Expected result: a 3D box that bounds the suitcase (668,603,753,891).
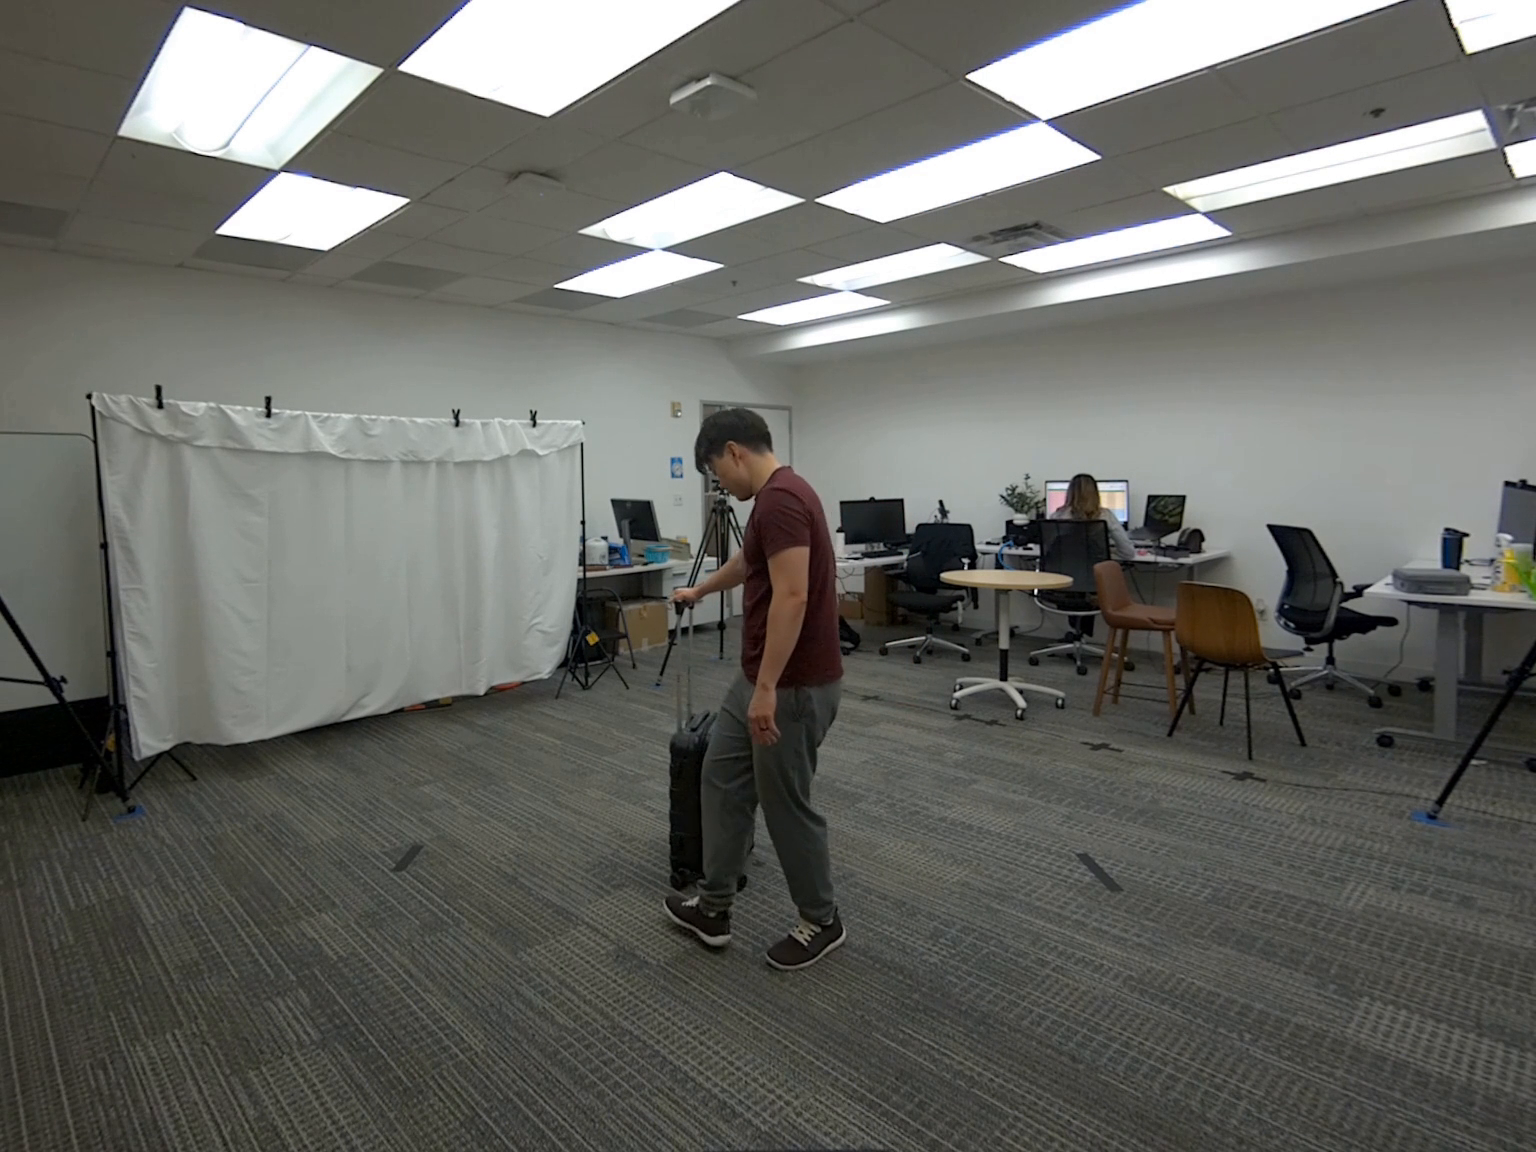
[{"bbox_3d":[-0.197,0.580,3.051,0.259,0.975,0.383,1,4,6],"label":"suitcase"}]
